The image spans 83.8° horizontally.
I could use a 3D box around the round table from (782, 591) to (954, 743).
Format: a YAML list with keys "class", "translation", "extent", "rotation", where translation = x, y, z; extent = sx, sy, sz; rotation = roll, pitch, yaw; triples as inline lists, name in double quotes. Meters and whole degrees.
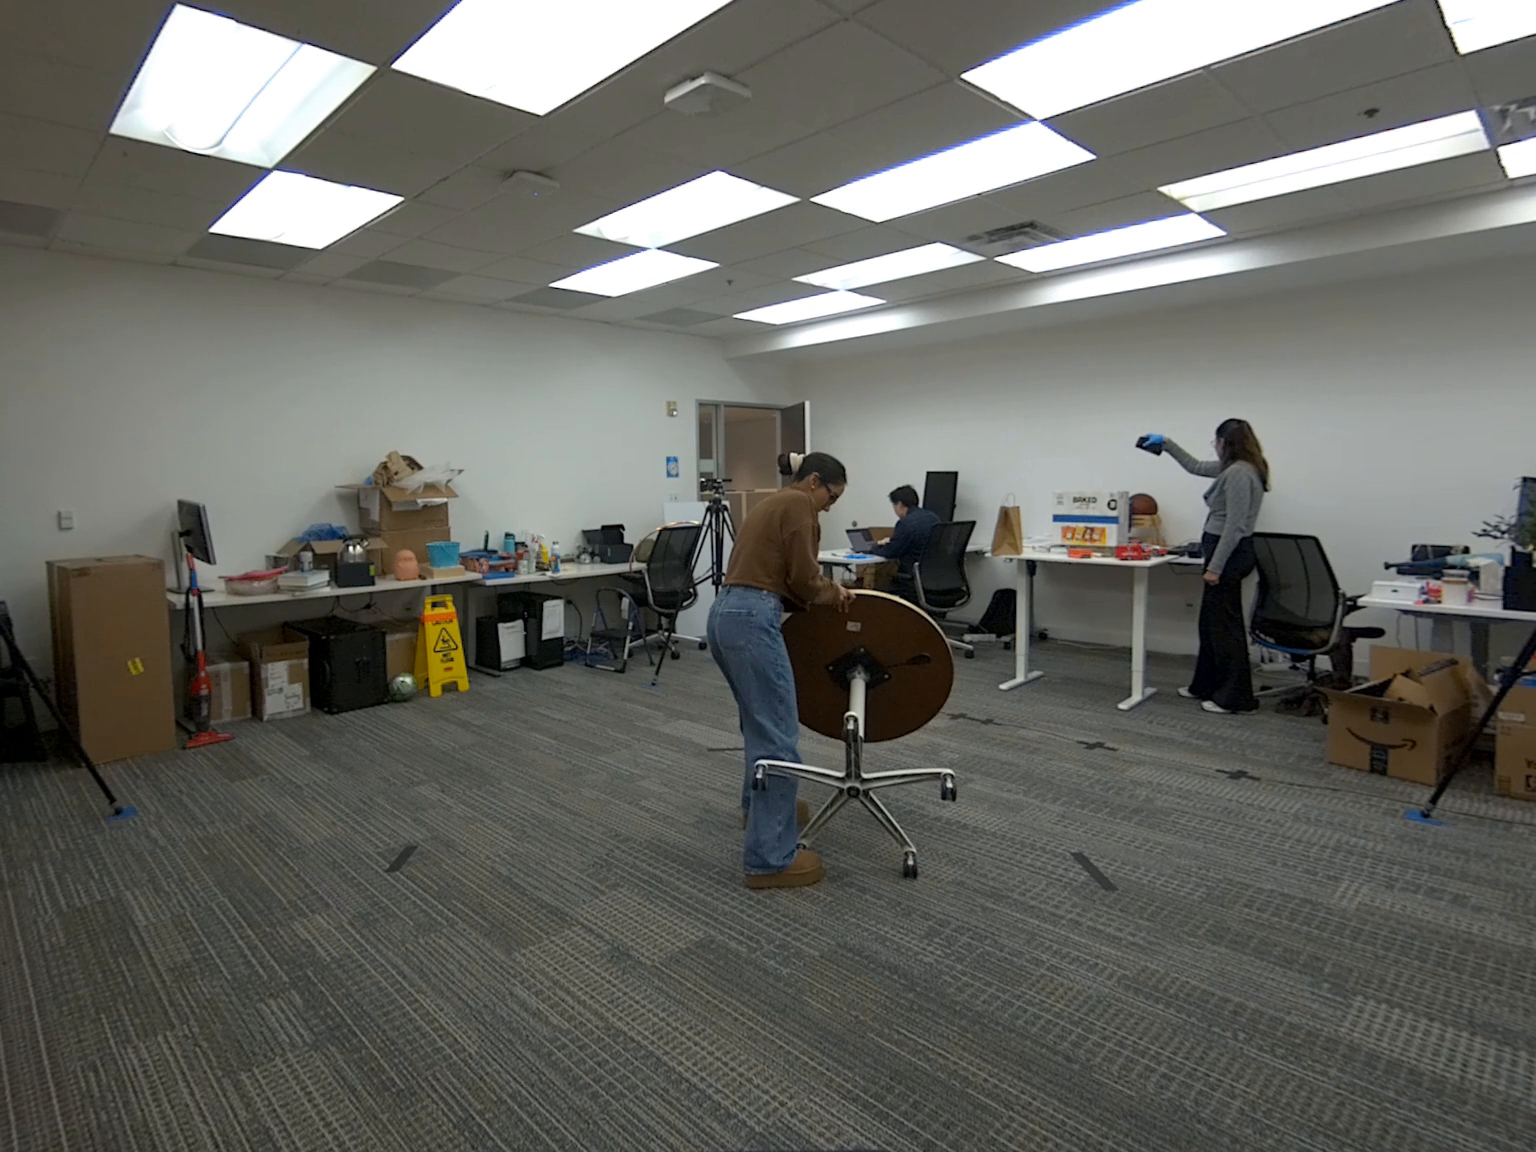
- class: "round table"
  translation: [0.339, 0.591, 3.203]
  extent: [0.772, 0.745, 0.806]
  rotation: [0, 30, 9]
